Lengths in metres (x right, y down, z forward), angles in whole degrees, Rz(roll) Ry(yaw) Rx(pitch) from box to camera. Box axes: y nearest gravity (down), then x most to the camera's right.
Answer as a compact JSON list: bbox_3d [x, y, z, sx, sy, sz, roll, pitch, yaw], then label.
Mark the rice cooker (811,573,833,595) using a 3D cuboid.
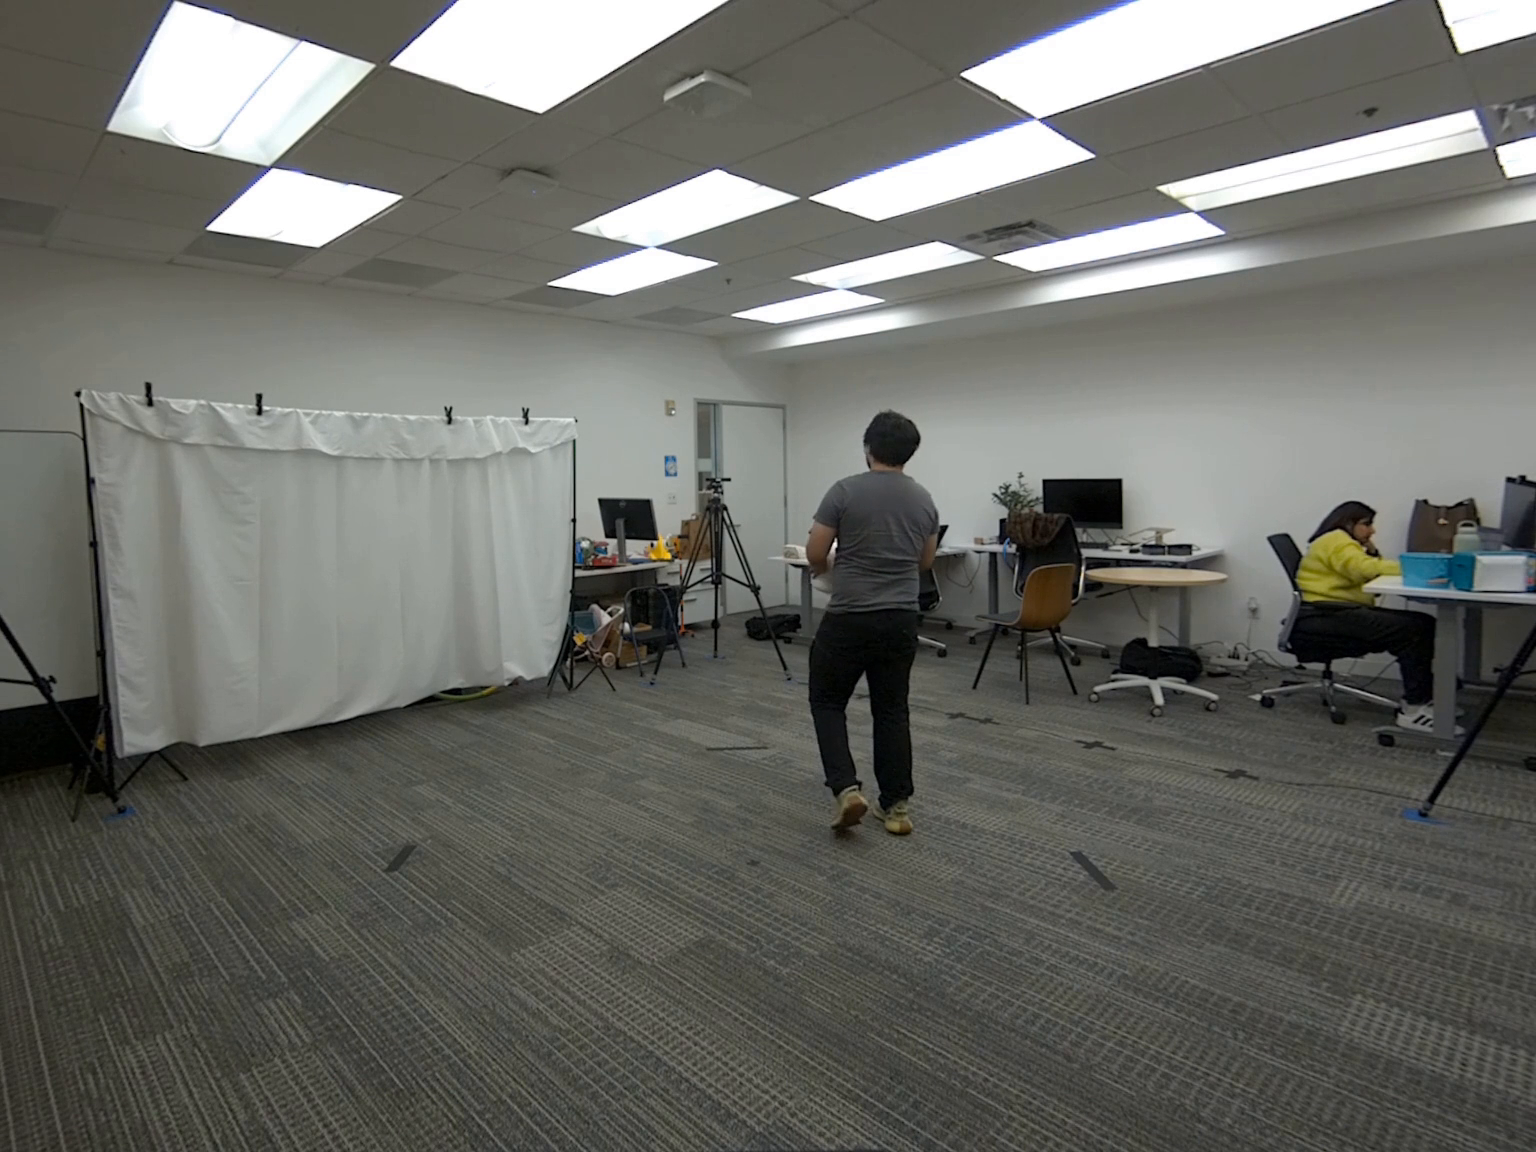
[{"bbox_3d":[0.306,-0.048,3.722,0.216,0.230,0.224,-4,15,-27],"label":"rice cooker"}]
